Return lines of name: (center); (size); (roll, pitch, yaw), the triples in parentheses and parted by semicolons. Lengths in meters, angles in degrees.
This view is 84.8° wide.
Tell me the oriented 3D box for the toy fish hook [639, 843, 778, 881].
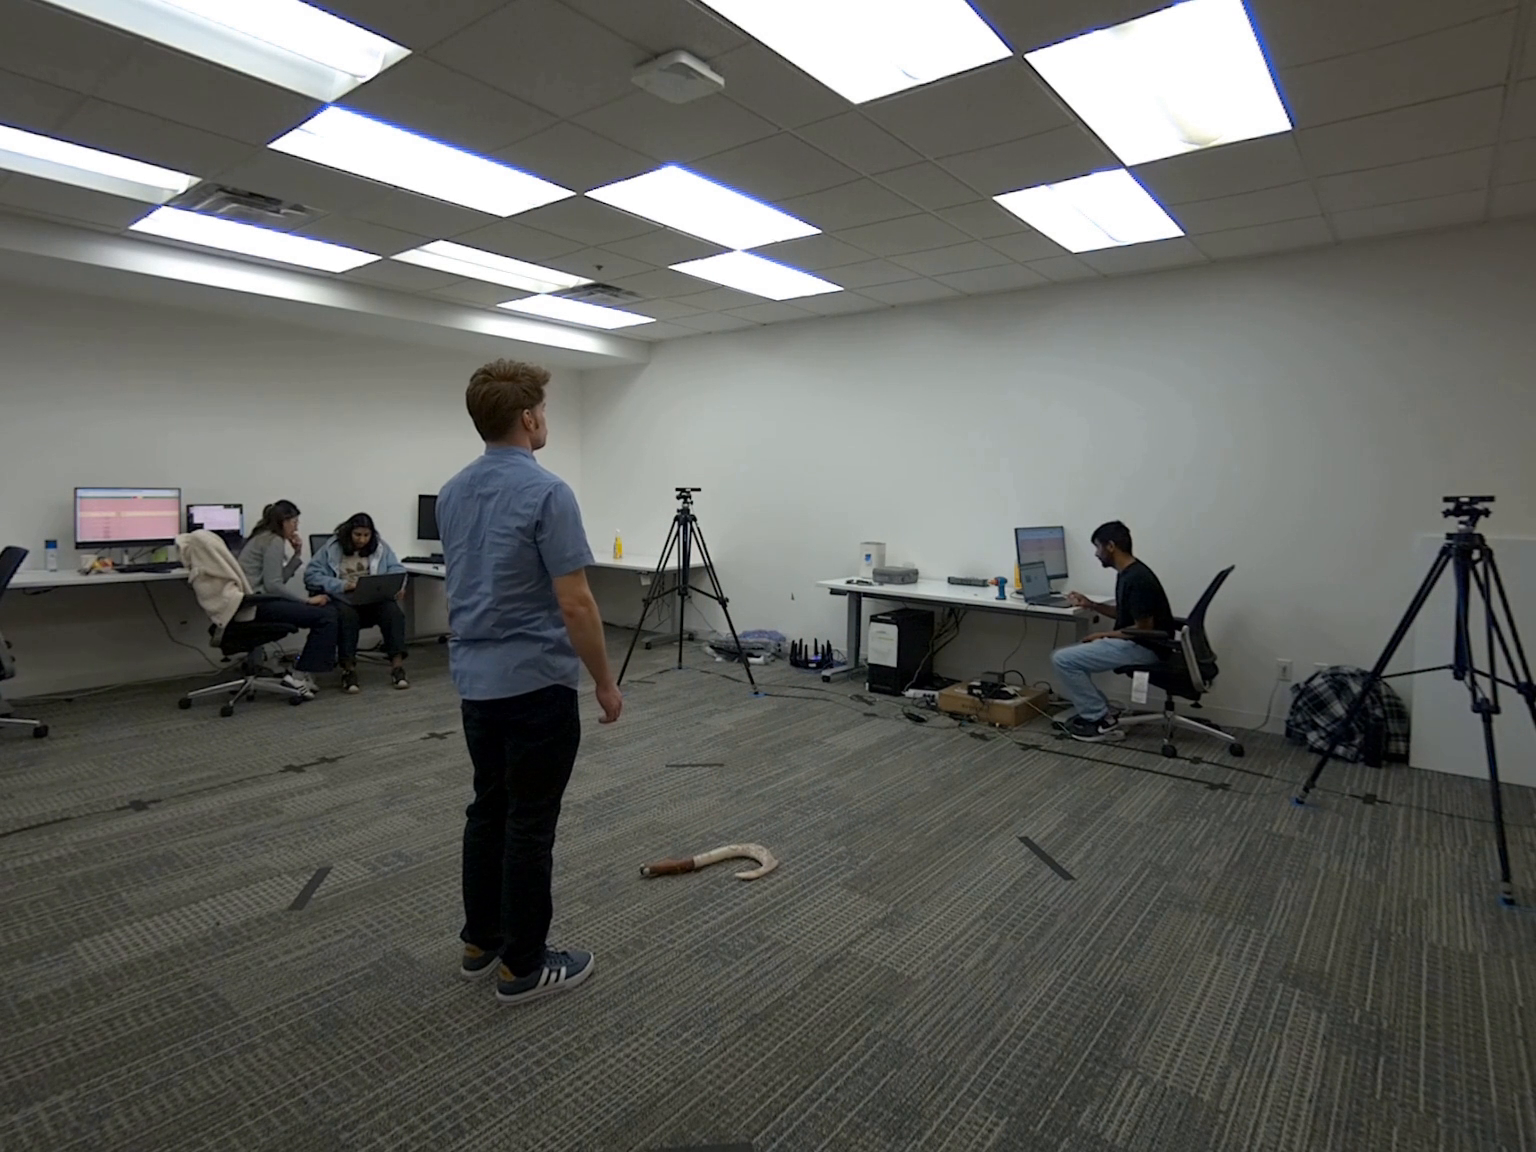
toy fish hook: (-0.216, 1.048, 3.082); (0.495, 0.048, 0.231); (-2, 6, -24)
